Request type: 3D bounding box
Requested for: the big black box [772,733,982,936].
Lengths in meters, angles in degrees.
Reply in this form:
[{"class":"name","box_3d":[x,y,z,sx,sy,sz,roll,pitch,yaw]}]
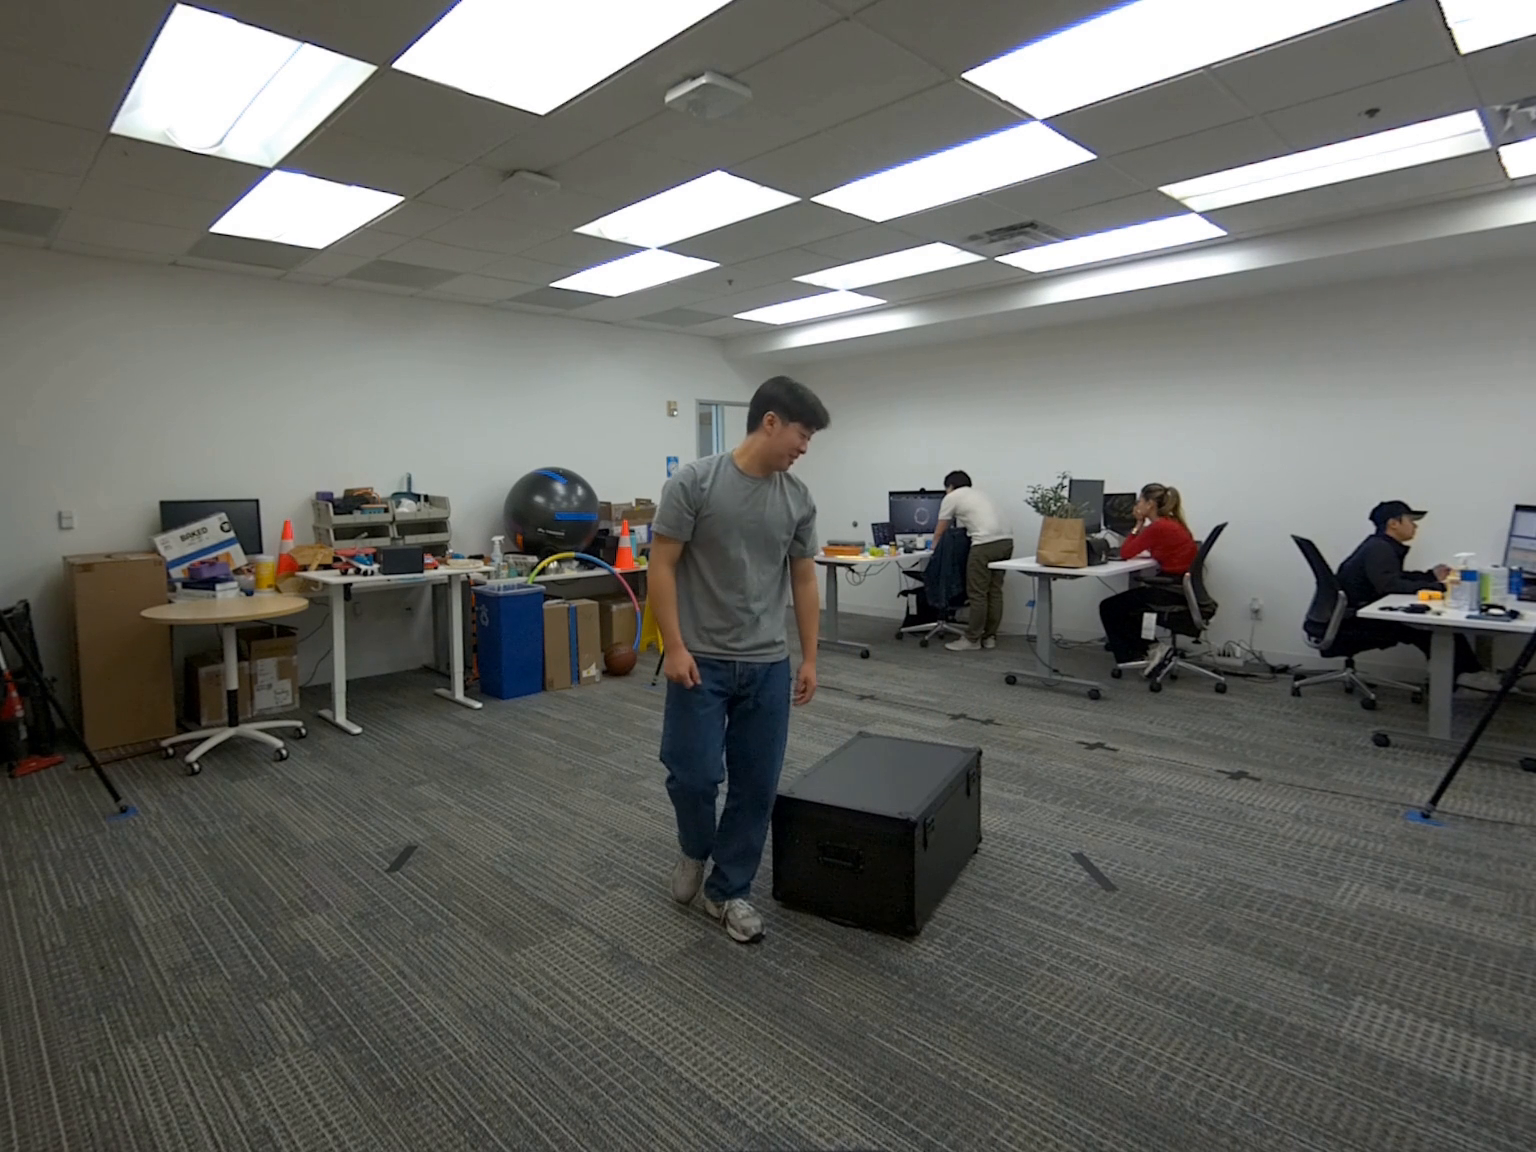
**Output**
[{"class":"big black box","box_3d":[0.428,0.856,3.014,0.534,0.394,0.844,1,6,29]}]
